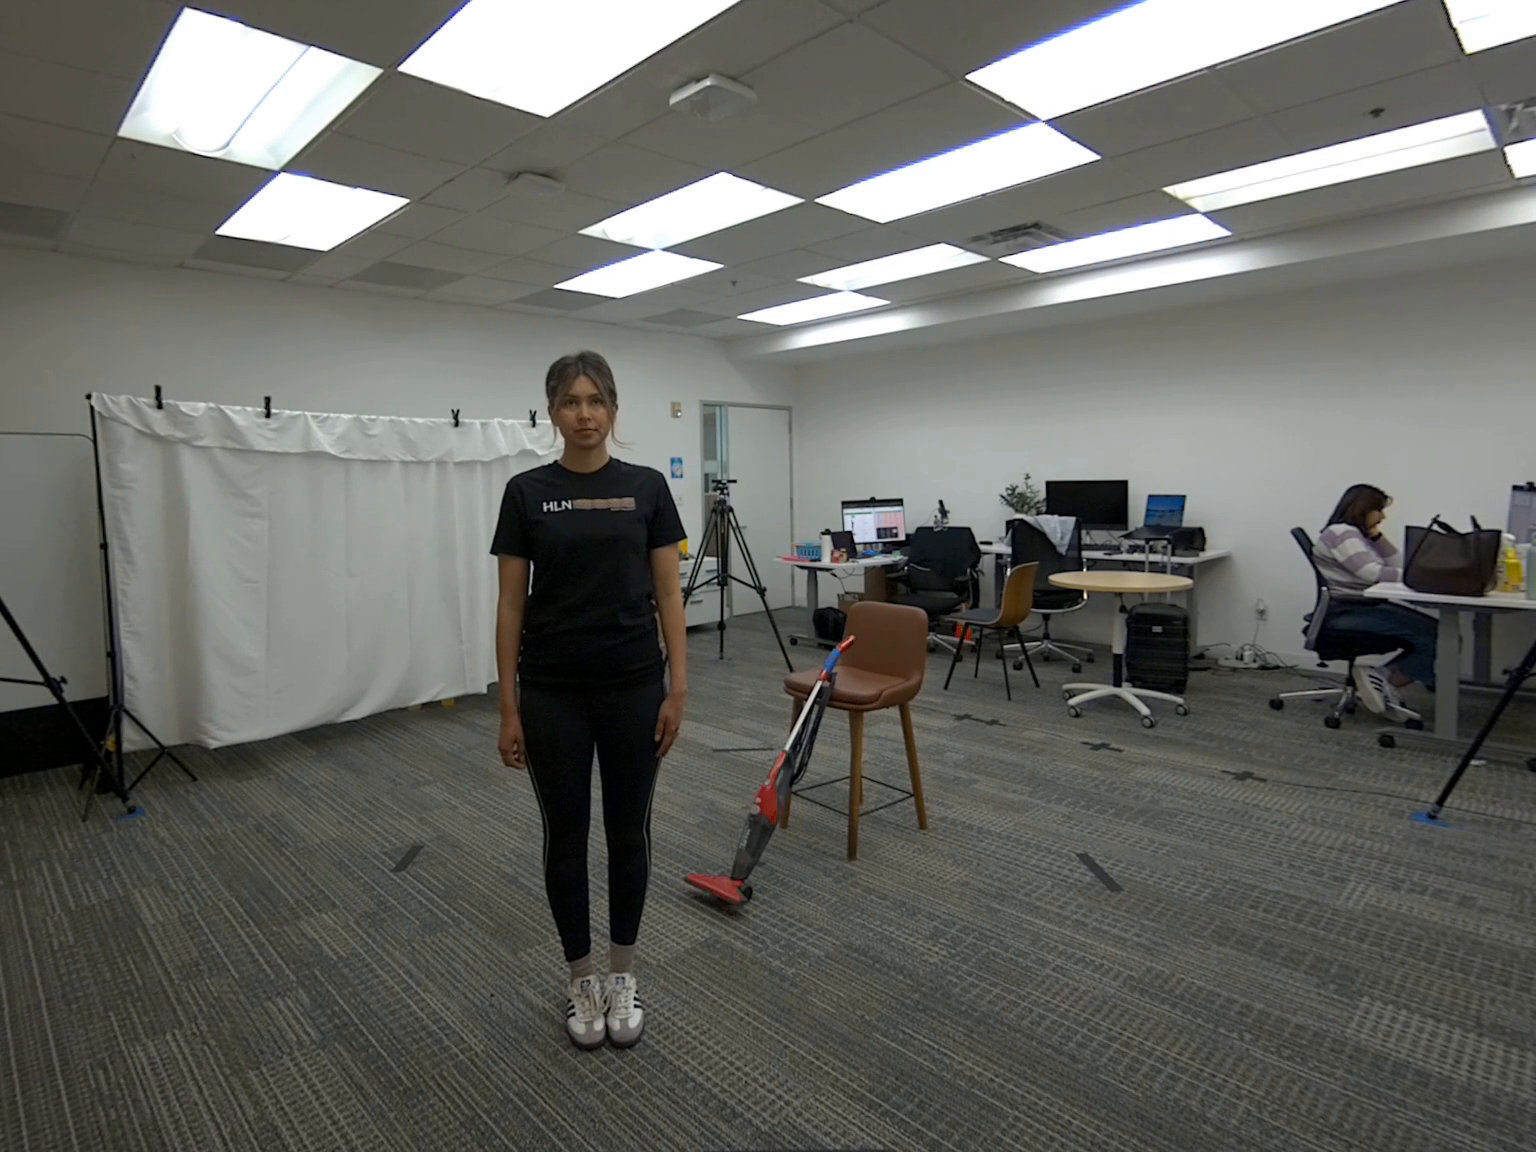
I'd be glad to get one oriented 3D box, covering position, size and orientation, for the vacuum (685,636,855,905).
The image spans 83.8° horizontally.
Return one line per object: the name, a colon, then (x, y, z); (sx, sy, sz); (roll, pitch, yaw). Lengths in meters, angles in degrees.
vacuum: (0.085, 0.657, 3.064); (0.260, 1.056, 0.138); (5, -36, 41)
